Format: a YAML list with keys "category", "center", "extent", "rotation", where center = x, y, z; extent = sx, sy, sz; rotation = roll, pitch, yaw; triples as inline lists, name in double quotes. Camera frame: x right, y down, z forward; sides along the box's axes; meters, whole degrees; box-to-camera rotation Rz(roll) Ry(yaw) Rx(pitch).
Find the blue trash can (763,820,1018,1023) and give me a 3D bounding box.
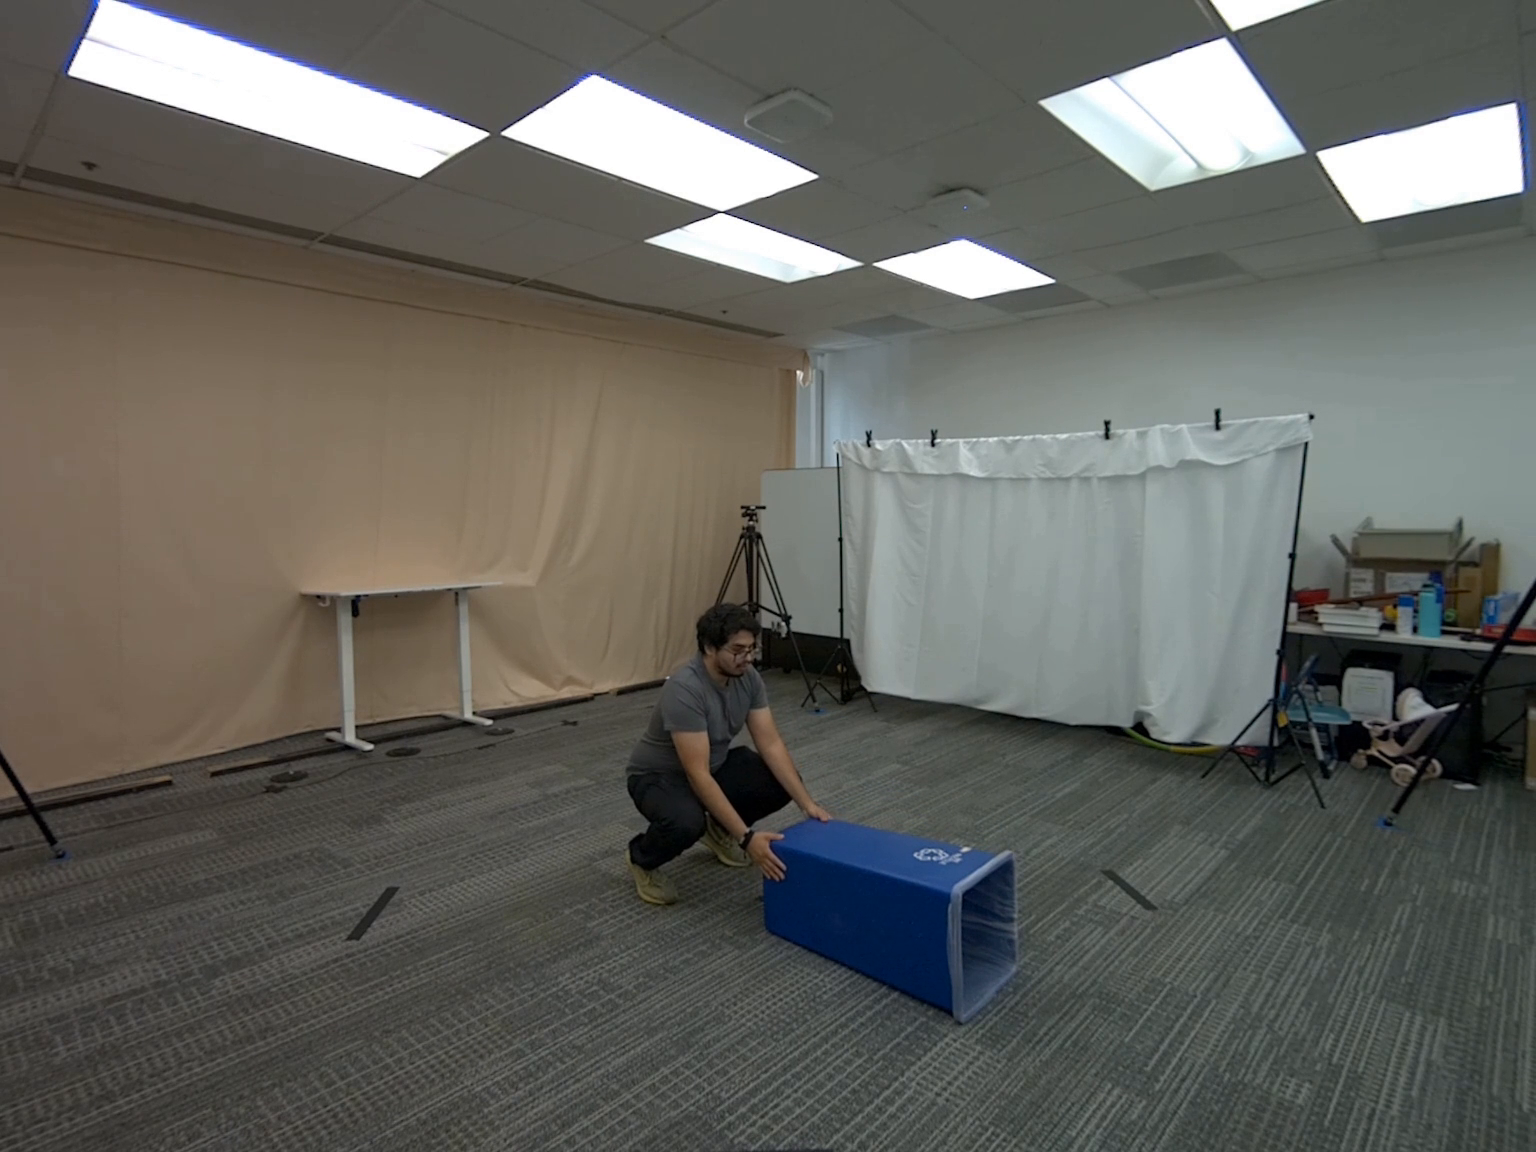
- category: "blue trash can"
  center: [0.356, 1.008, 2.608]
  extent: [0.736, 0.378, 0.363]
  rotation: [0, 3, 41]
